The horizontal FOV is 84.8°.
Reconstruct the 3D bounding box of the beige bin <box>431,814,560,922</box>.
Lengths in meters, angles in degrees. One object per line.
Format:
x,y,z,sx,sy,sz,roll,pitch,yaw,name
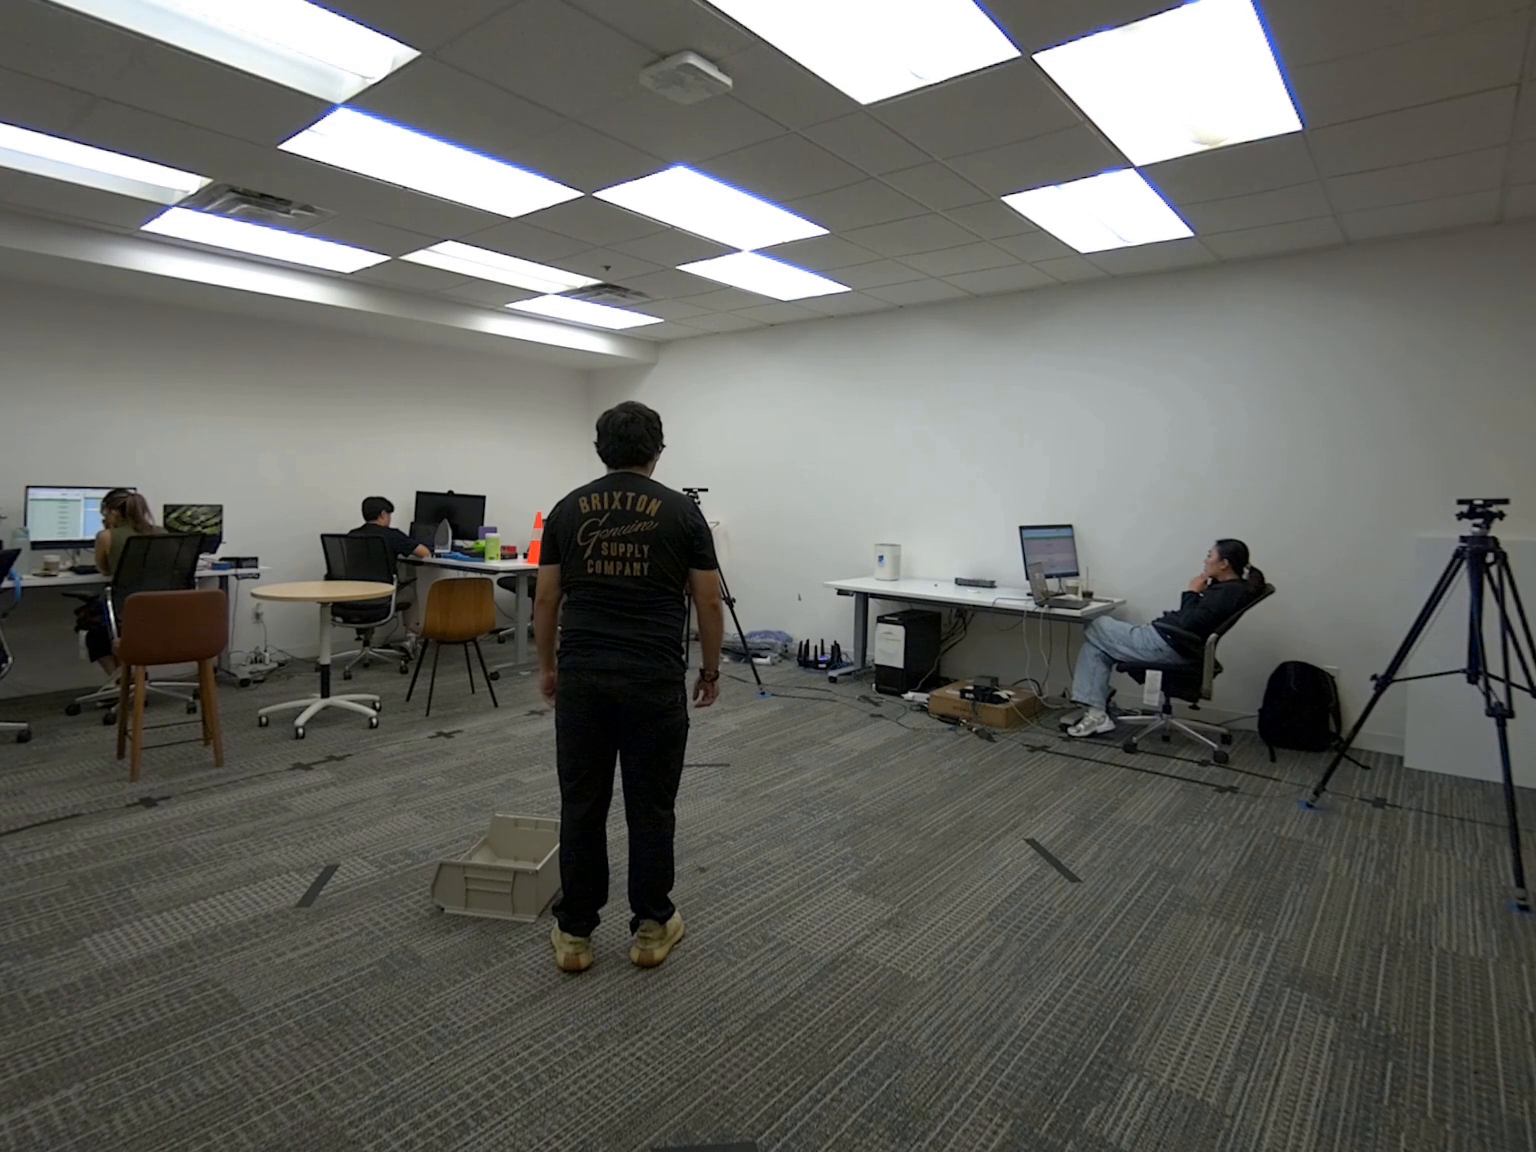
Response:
-0.906,0.991,2.926,0.381,0.188,0.419,3,5,8,beige bin
